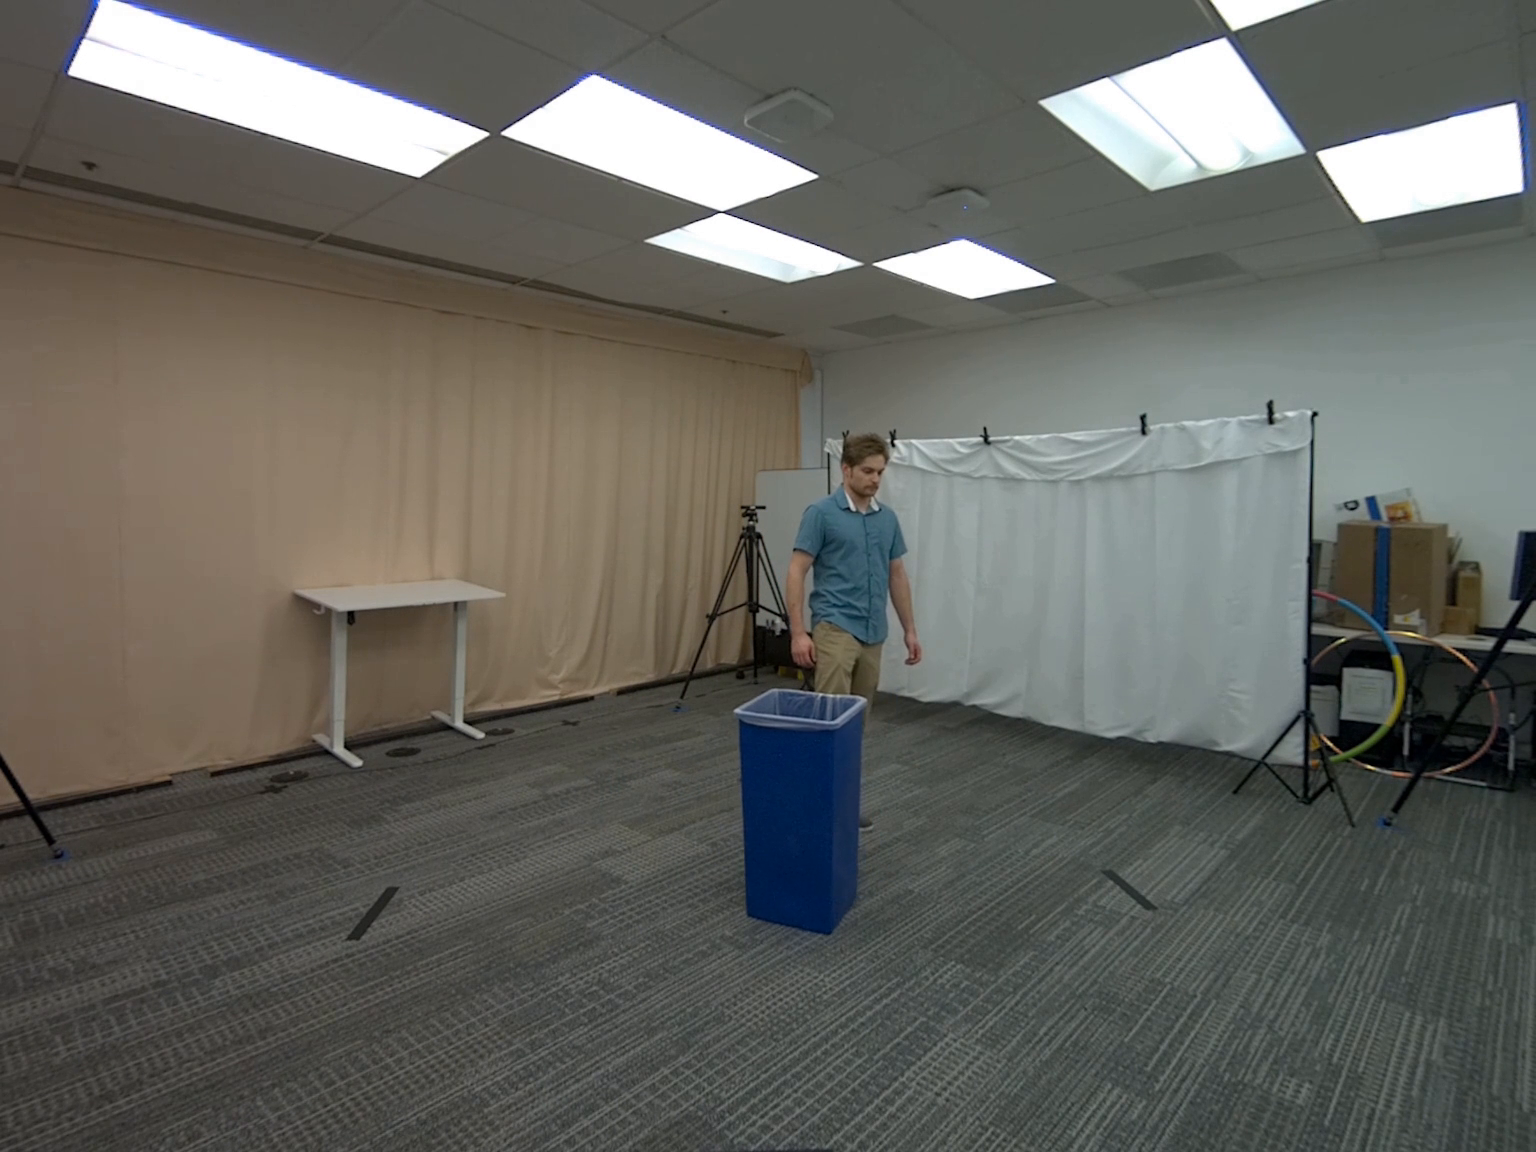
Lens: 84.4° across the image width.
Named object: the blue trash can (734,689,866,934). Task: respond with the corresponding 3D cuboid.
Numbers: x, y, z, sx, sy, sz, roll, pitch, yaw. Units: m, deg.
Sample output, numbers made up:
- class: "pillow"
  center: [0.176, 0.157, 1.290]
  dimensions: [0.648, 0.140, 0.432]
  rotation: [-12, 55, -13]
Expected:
- class: "blue trash can"
  center: [0.122, 0.793, 2.899]
  dimensions: [0.388, 0.712, 0.365]
  rotation: [1, 4, 24]
